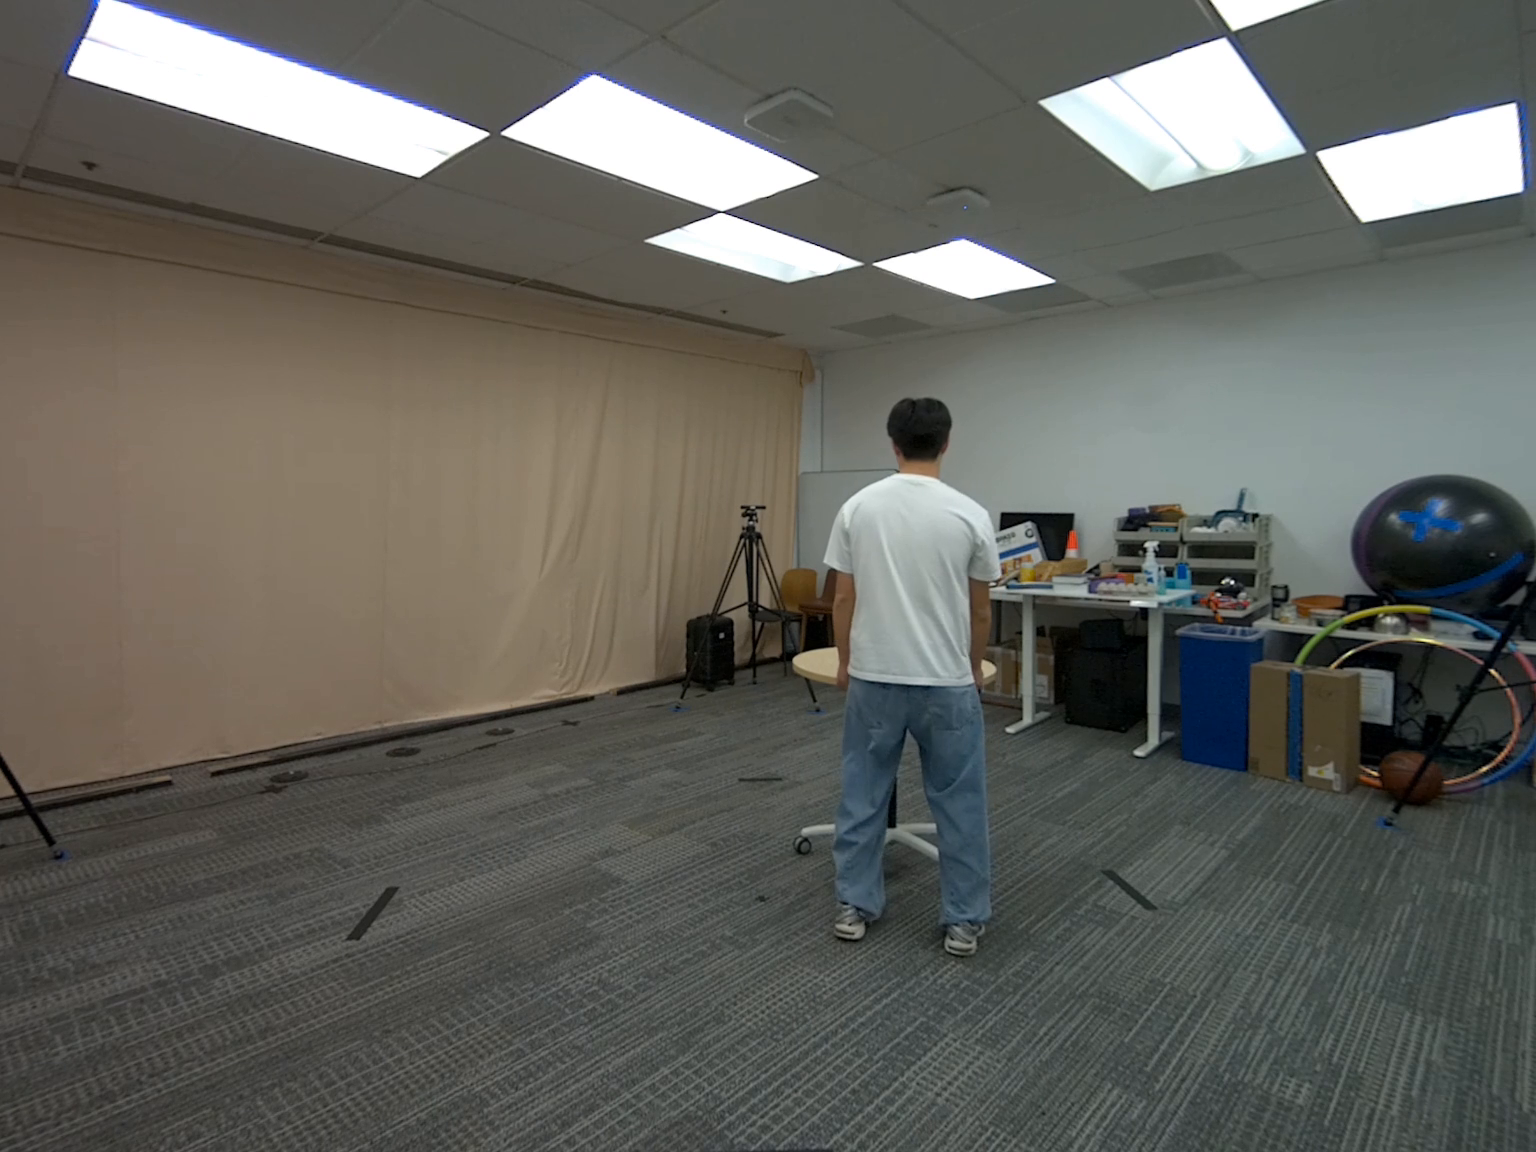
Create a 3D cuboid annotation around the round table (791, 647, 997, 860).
[{"bbox_3d":[0.472,0.728,3.270,0.763,0.792,0.766,0,4,-2],"label":"round table"}]
